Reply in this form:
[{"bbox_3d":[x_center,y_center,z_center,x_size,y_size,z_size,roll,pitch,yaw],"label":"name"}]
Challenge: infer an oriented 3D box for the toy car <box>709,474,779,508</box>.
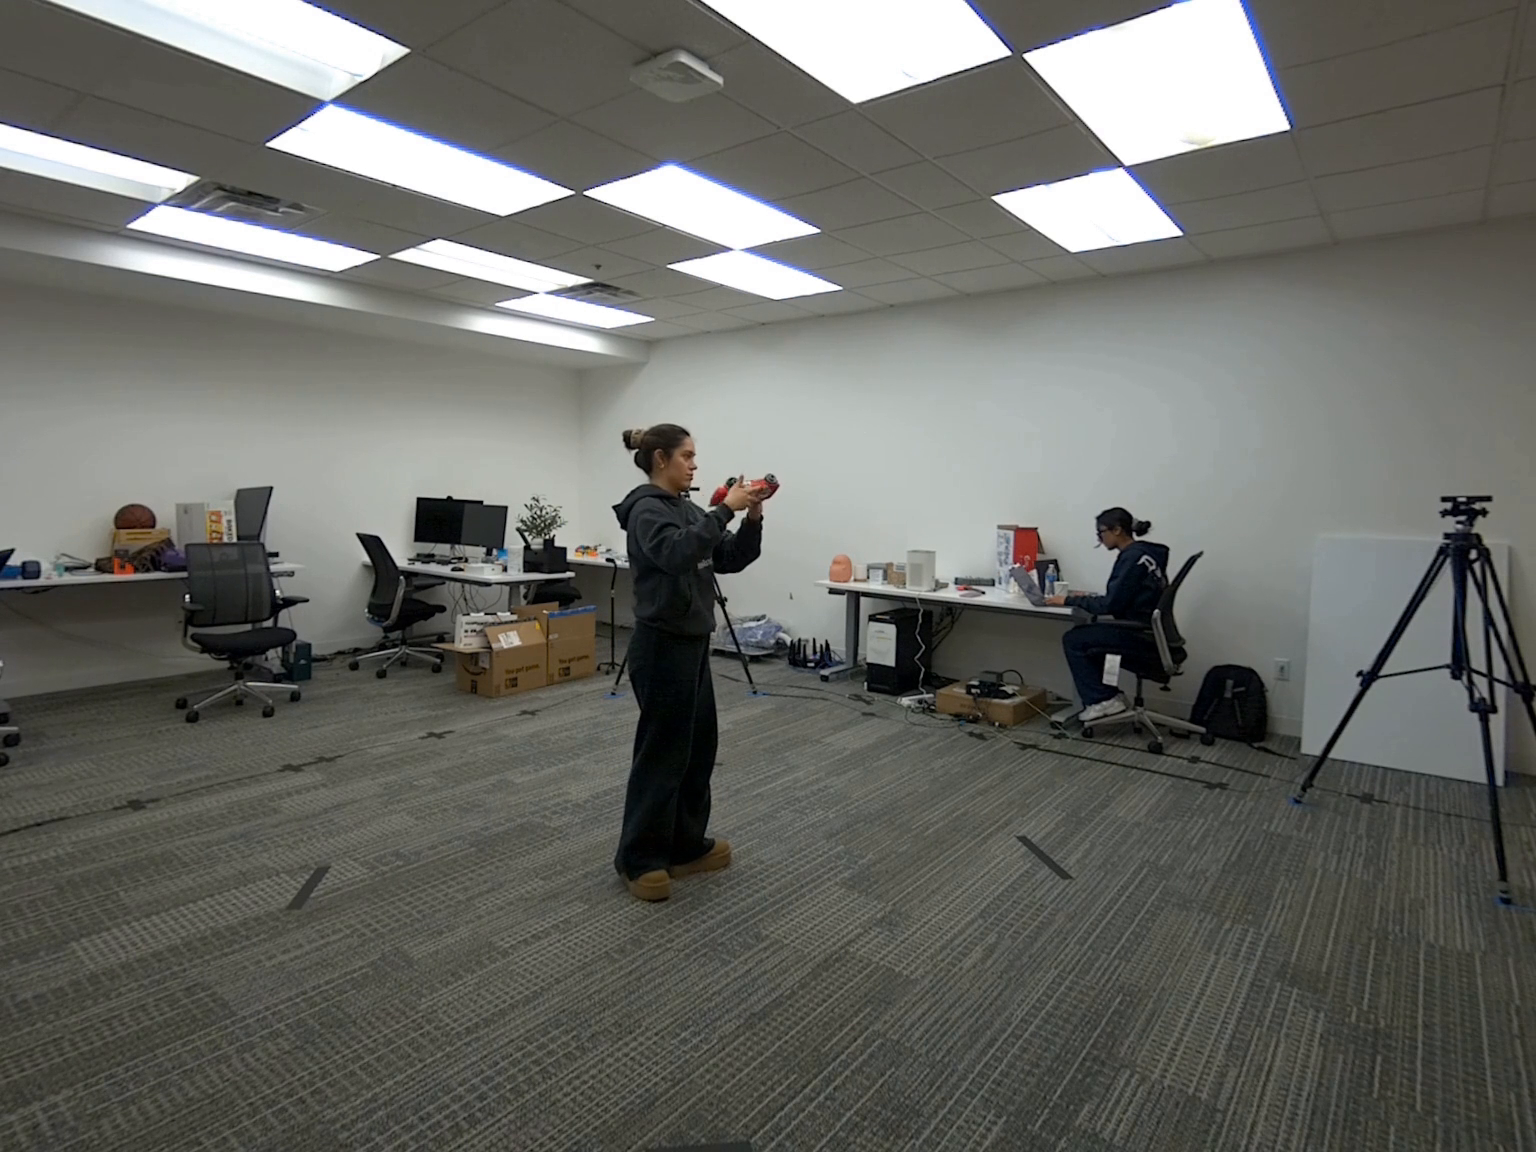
[{"bbox_3d":[-0.098,-0.289,2.880,0.250,0.085,0.130,-19,-18,-28],"label":"toy car"}]
